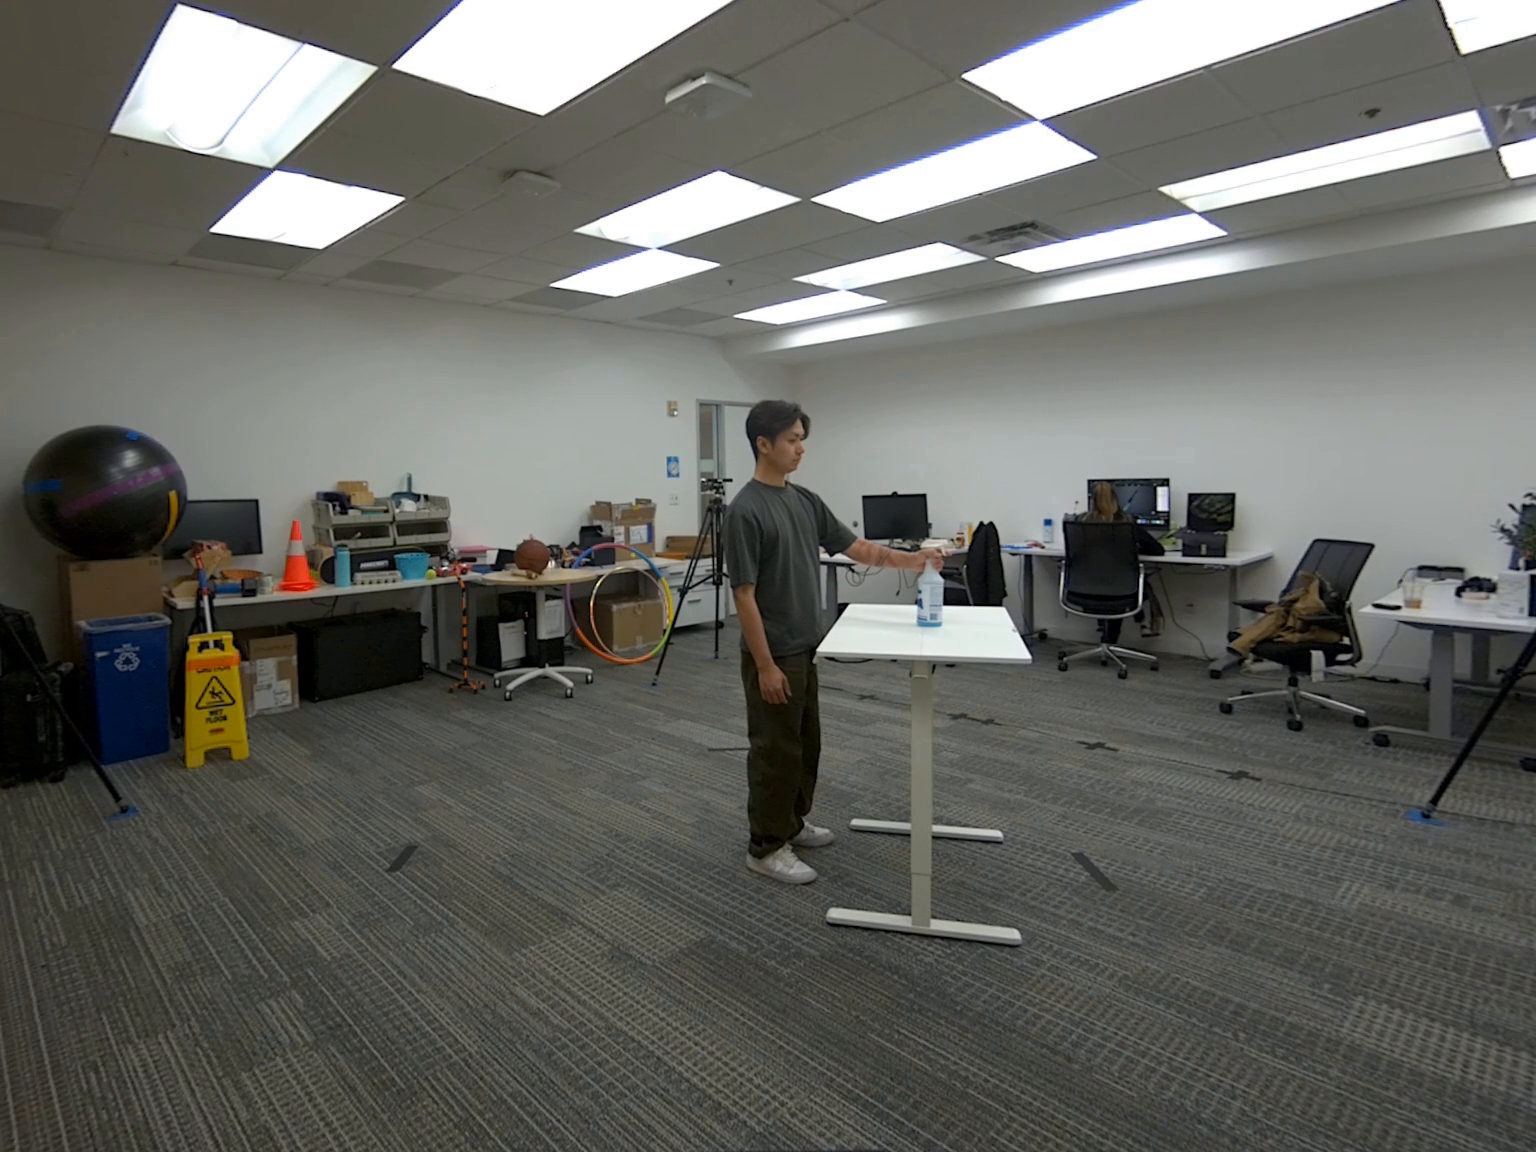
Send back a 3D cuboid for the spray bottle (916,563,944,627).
[{"bbox_3d":[0.560,0.024,2.938,0.085,0.296,0.093,-2,7,-35],"label":"spray bottle"}]
